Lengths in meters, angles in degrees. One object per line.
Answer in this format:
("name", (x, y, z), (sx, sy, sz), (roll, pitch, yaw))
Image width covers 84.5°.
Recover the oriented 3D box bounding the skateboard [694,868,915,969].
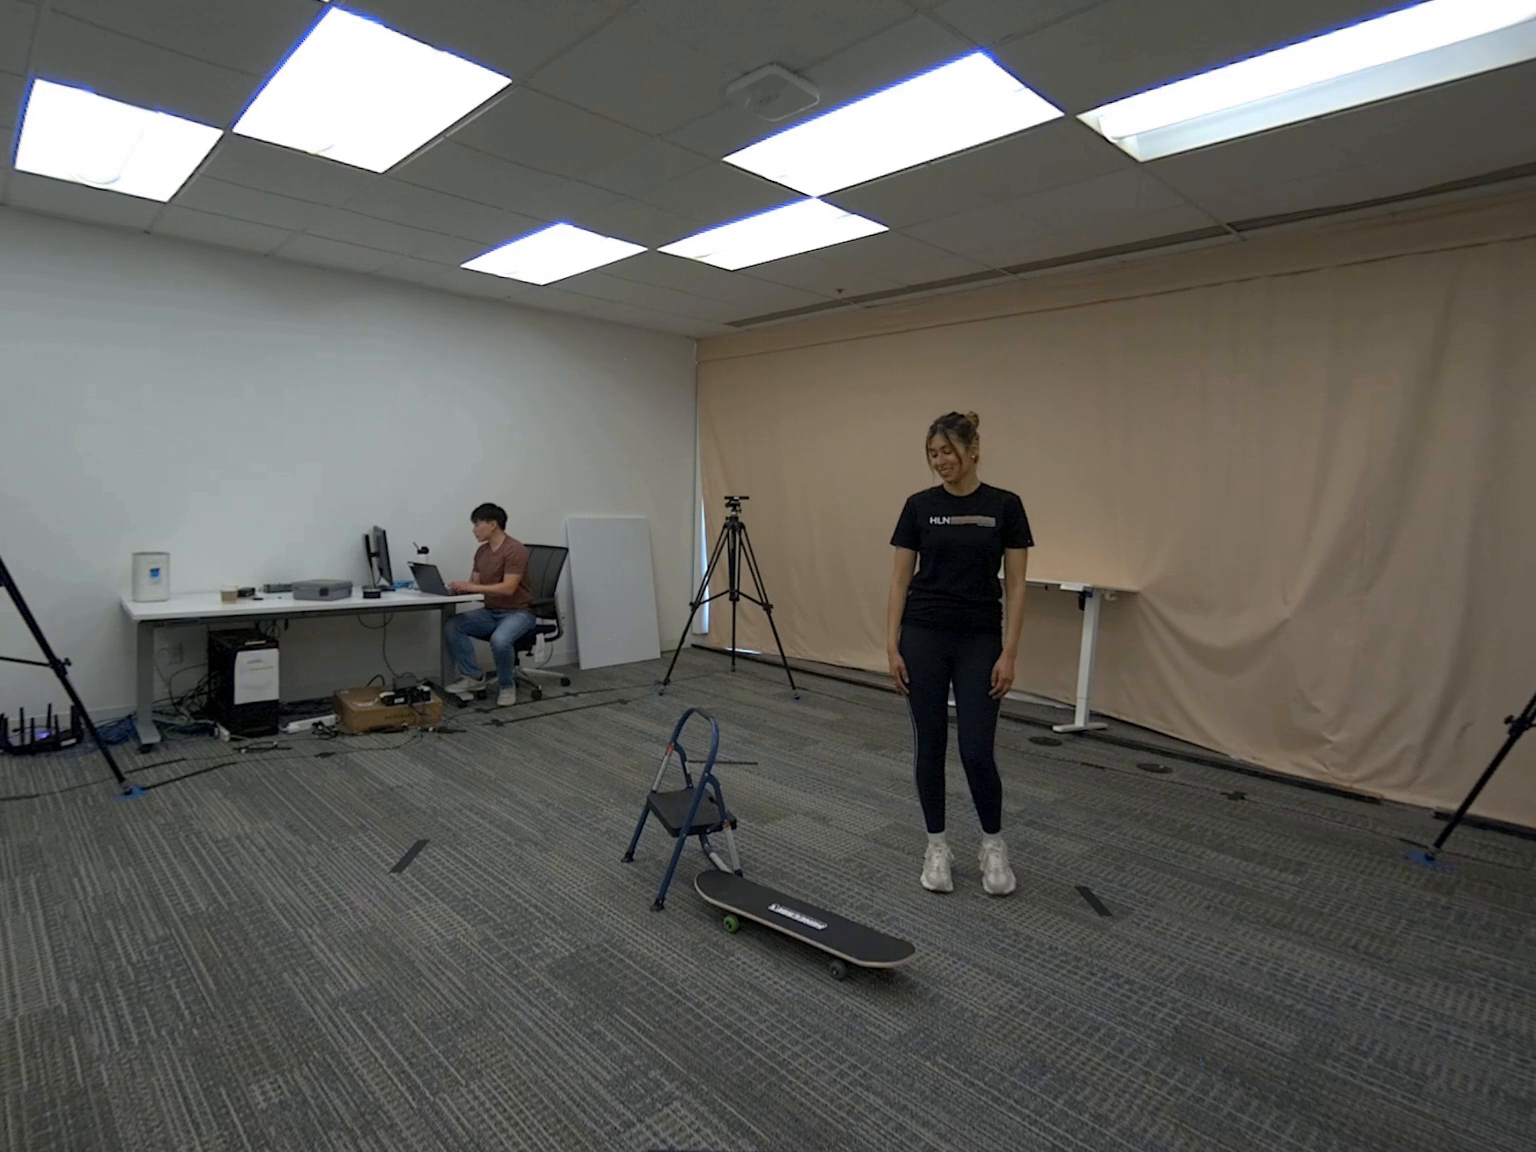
("skateboard", (0.082, 1.096, 2.633), (0.805, 0.110, 0.189), (5, 5, 37))
